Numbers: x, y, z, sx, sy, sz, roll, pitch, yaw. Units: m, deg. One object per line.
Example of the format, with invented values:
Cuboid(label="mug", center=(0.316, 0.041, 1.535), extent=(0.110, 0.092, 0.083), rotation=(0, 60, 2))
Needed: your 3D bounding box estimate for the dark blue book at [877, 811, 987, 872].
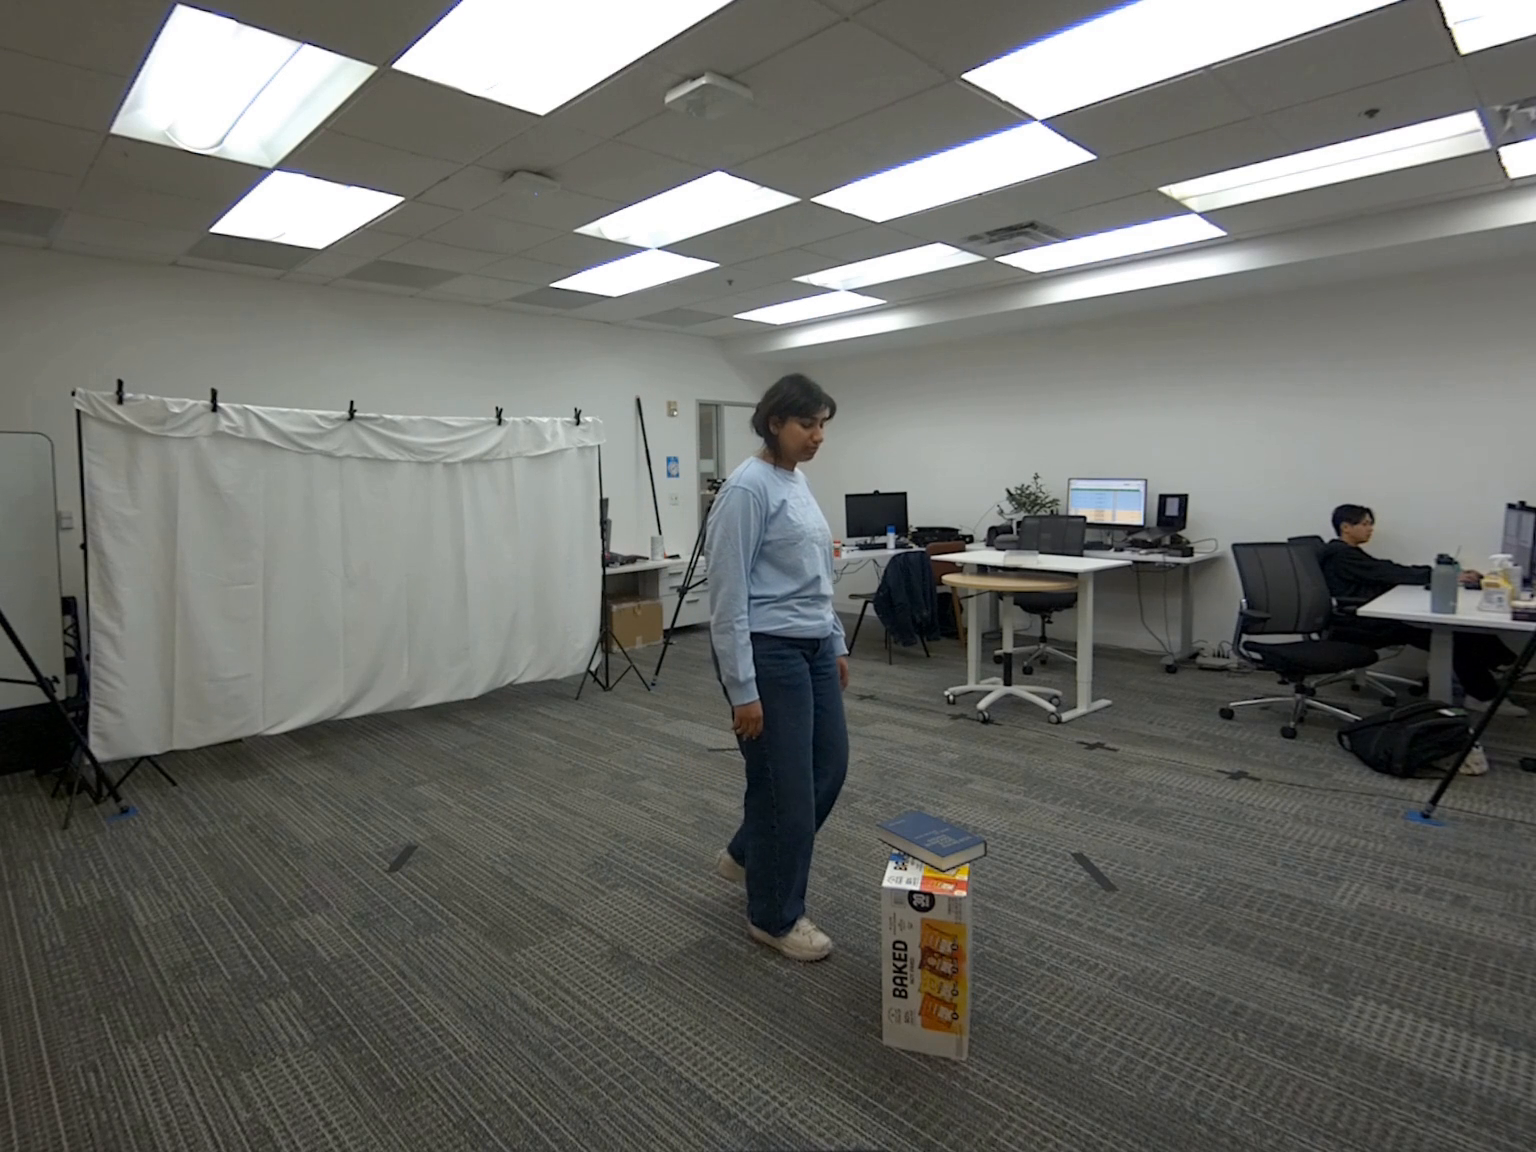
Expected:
Cuboid(label="dark blue book", center=(0.445, 0.712, 2.281), extent=(0.159, 0.045, 0.252), rotation=(-6, 8, -32))
